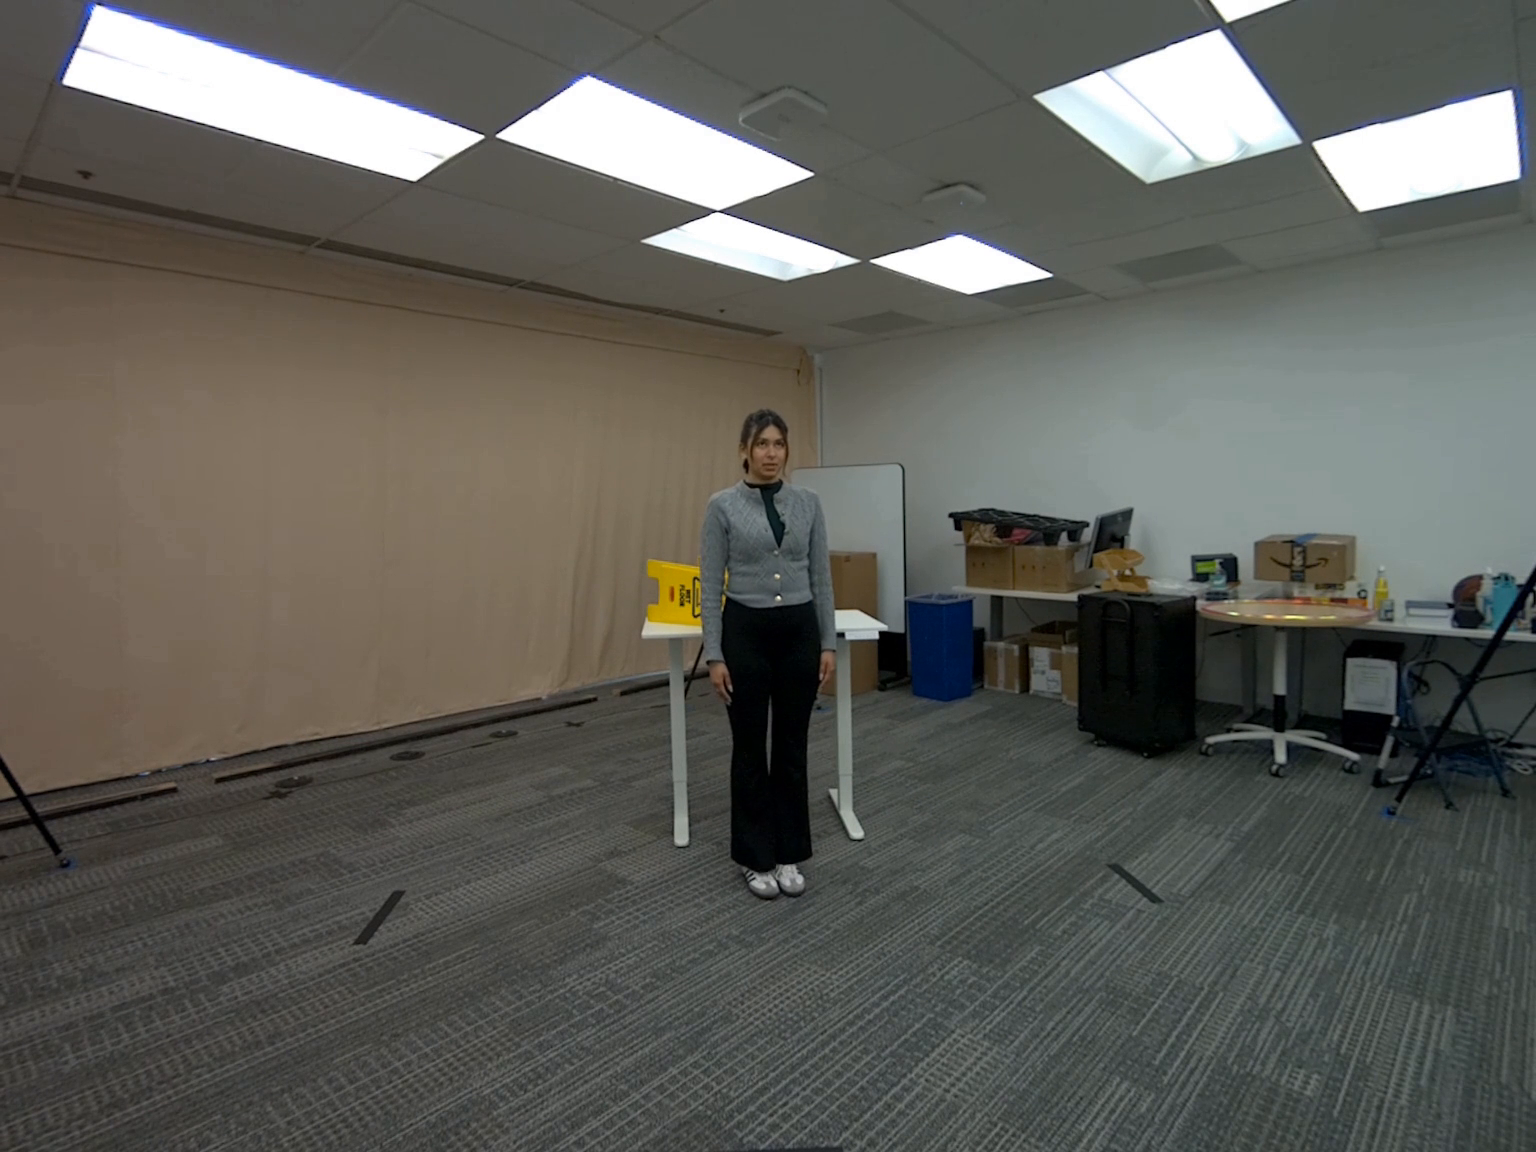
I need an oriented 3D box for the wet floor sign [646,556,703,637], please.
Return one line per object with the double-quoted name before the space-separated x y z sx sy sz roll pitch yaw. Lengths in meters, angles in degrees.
"wet floor sign" -0.223 0.088 3.626 0.281 0.281 0.668 -4 7 -39
